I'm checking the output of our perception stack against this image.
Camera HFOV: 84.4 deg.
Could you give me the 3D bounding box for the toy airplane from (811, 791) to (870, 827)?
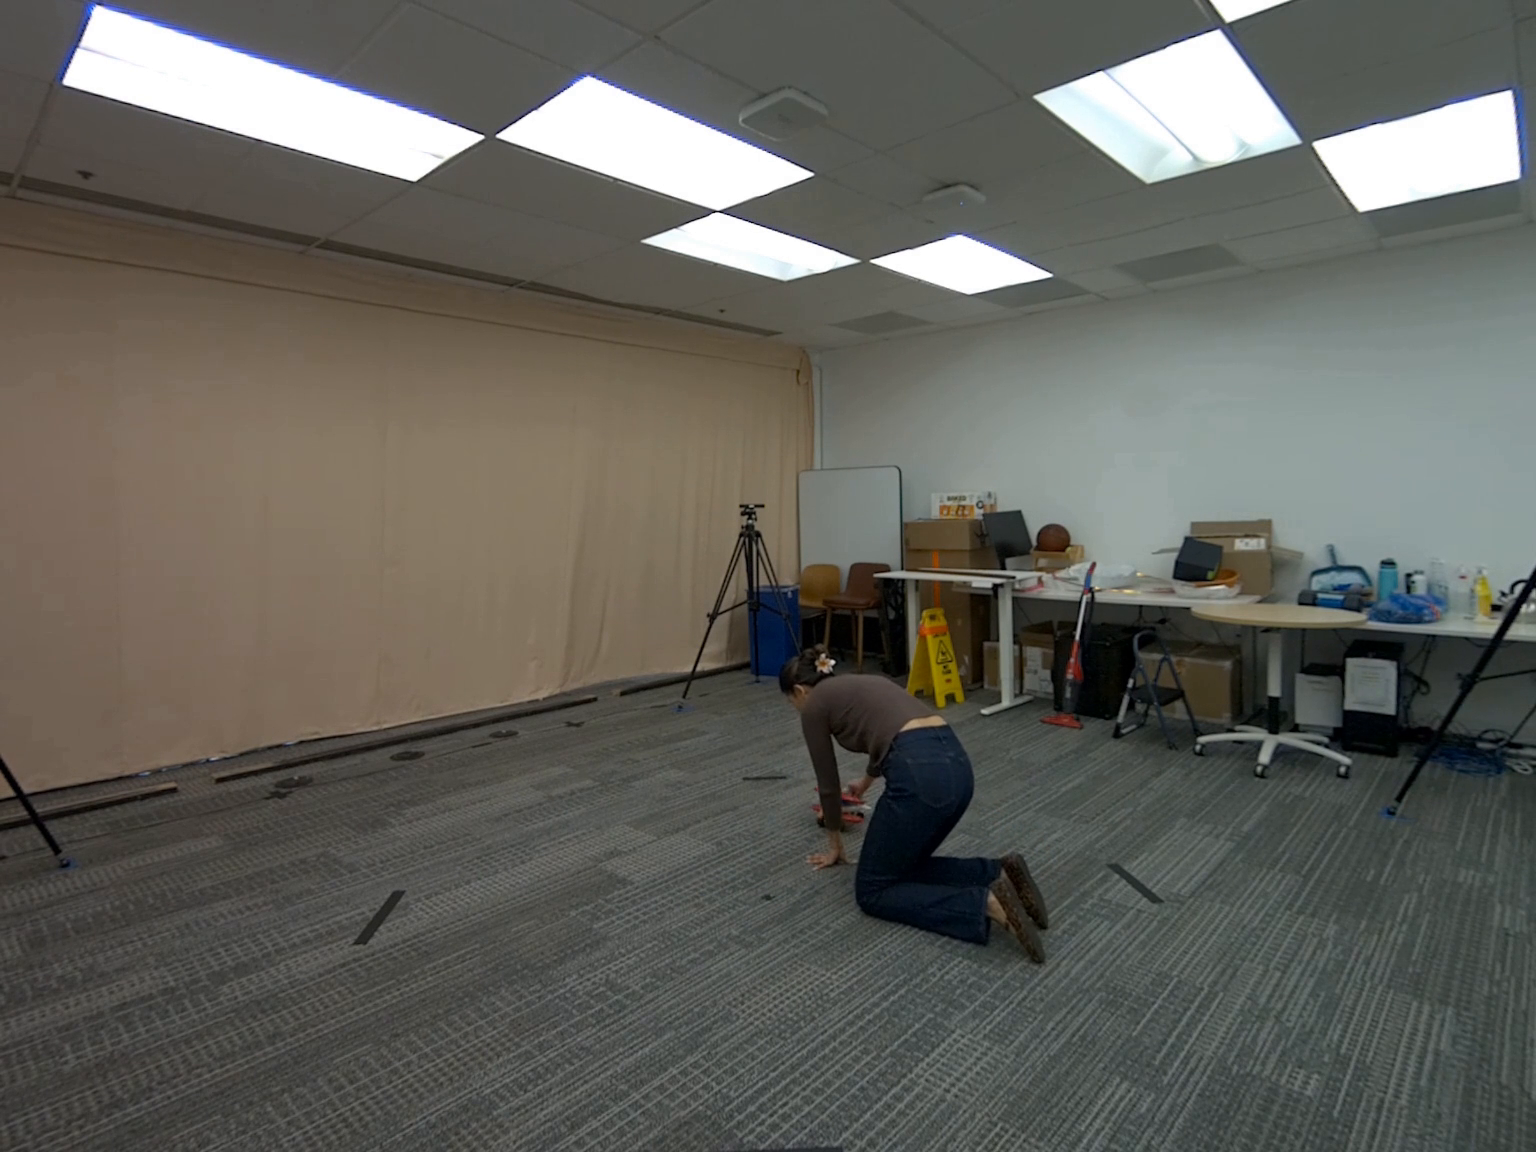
[{"bbox_3d":[0.317,1.001,3.663,0.256,0.156,0.255,0,6,18],"label":"toy airplane"}]
